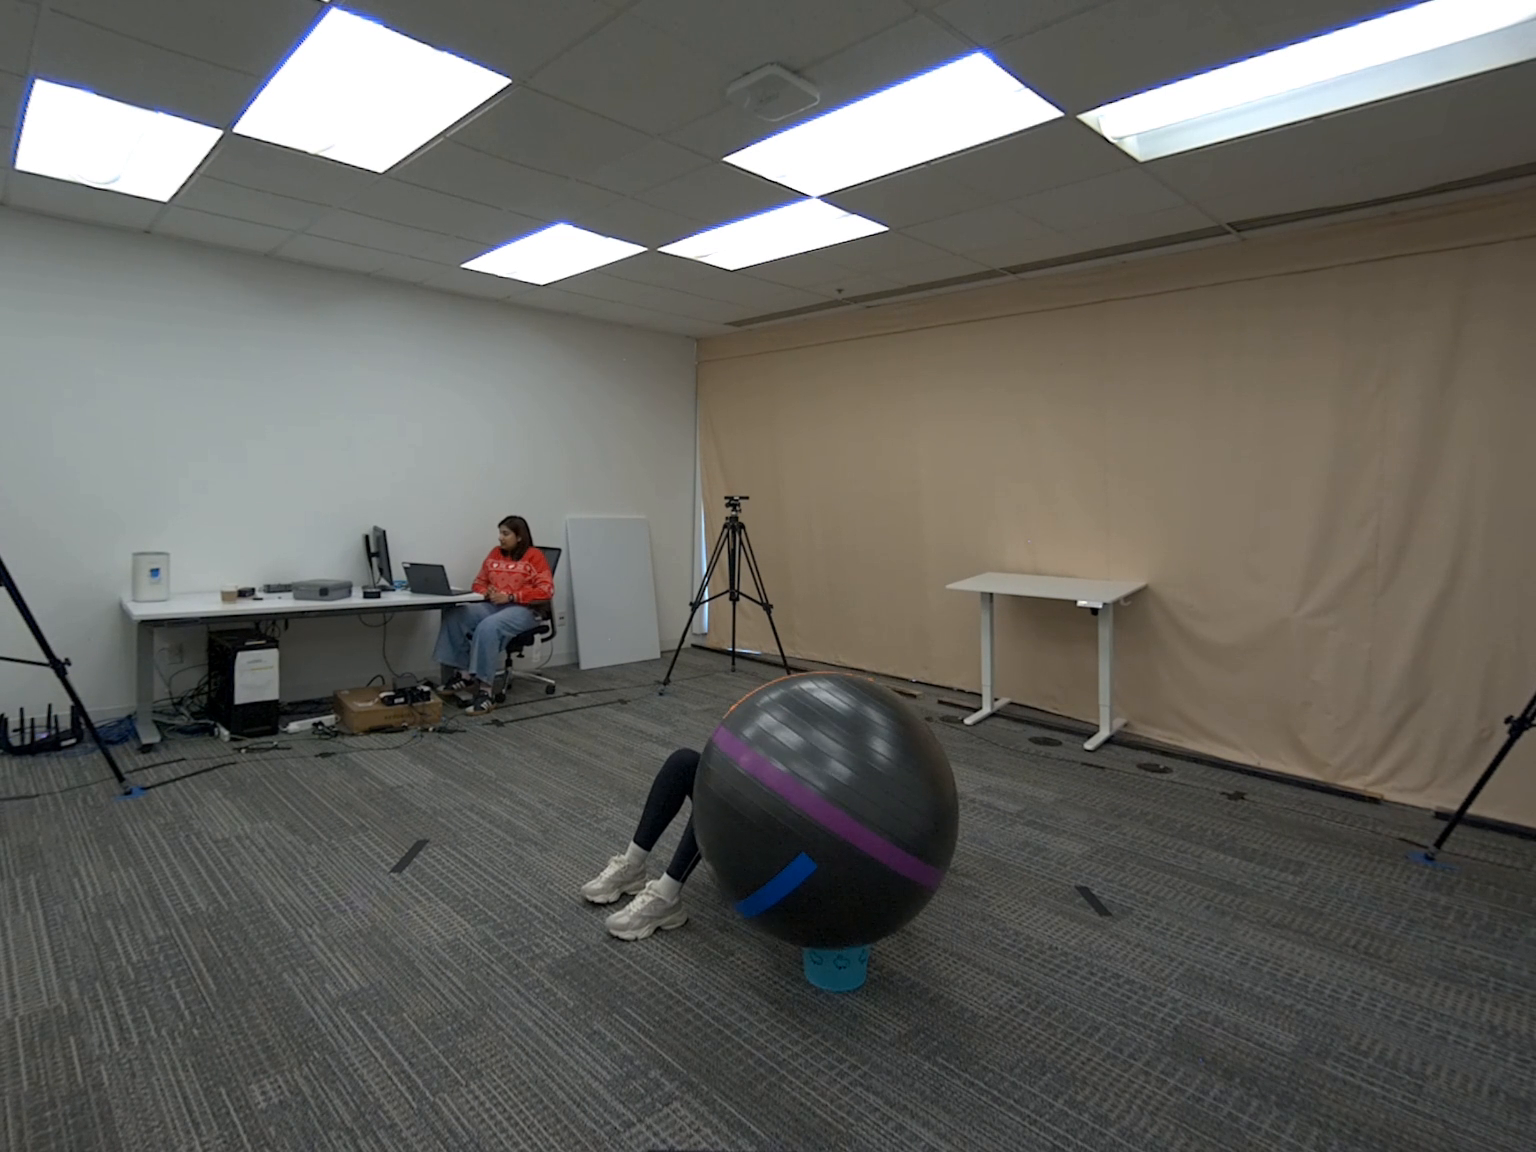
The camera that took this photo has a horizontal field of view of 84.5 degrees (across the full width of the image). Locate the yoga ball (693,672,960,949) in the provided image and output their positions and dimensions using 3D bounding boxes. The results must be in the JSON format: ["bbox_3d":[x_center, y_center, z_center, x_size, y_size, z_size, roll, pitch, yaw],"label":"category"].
[{"bbox_3d":[0.176,0.652,2.432,0.757,0.754,0.762,0,7,-1],"label":"yoga ball"}]
